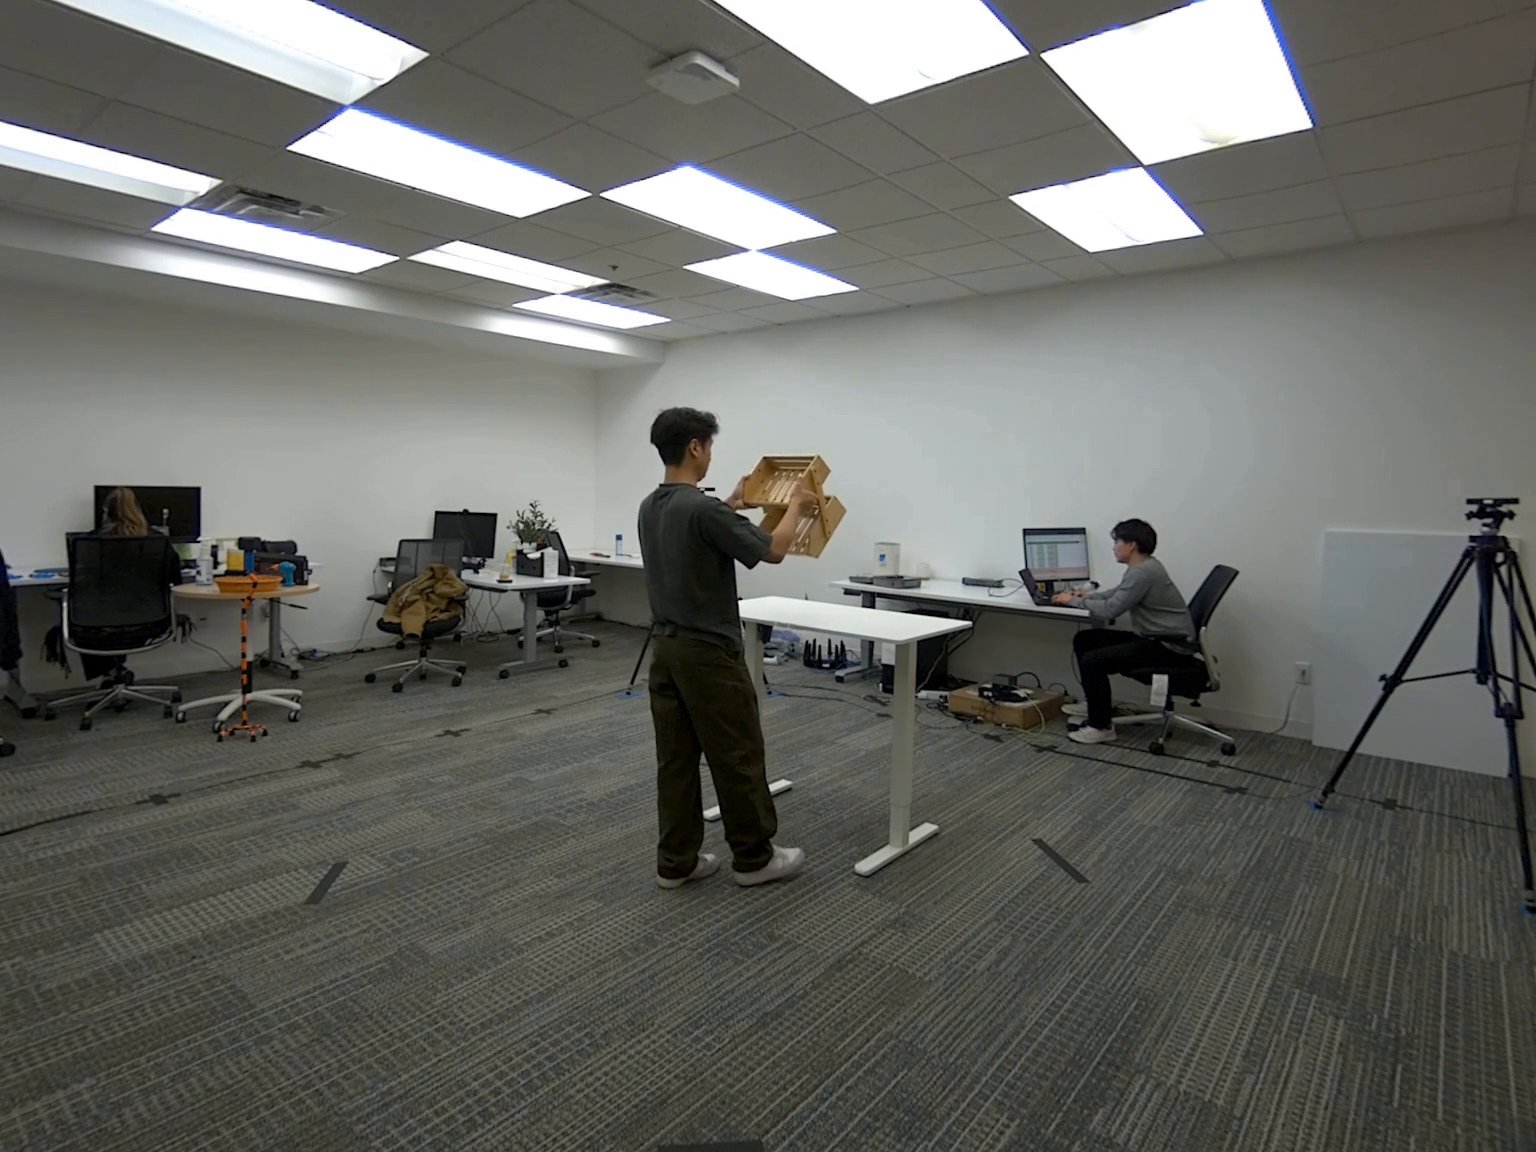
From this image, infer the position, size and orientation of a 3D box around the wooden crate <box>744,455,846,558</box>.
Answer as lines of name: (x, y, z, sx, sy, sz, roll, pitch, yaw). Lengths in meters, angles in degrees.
wooden crate: (0.069, -0.267, 3.219, 0.336, 0.303, 0.263, 8, -33, 48)
